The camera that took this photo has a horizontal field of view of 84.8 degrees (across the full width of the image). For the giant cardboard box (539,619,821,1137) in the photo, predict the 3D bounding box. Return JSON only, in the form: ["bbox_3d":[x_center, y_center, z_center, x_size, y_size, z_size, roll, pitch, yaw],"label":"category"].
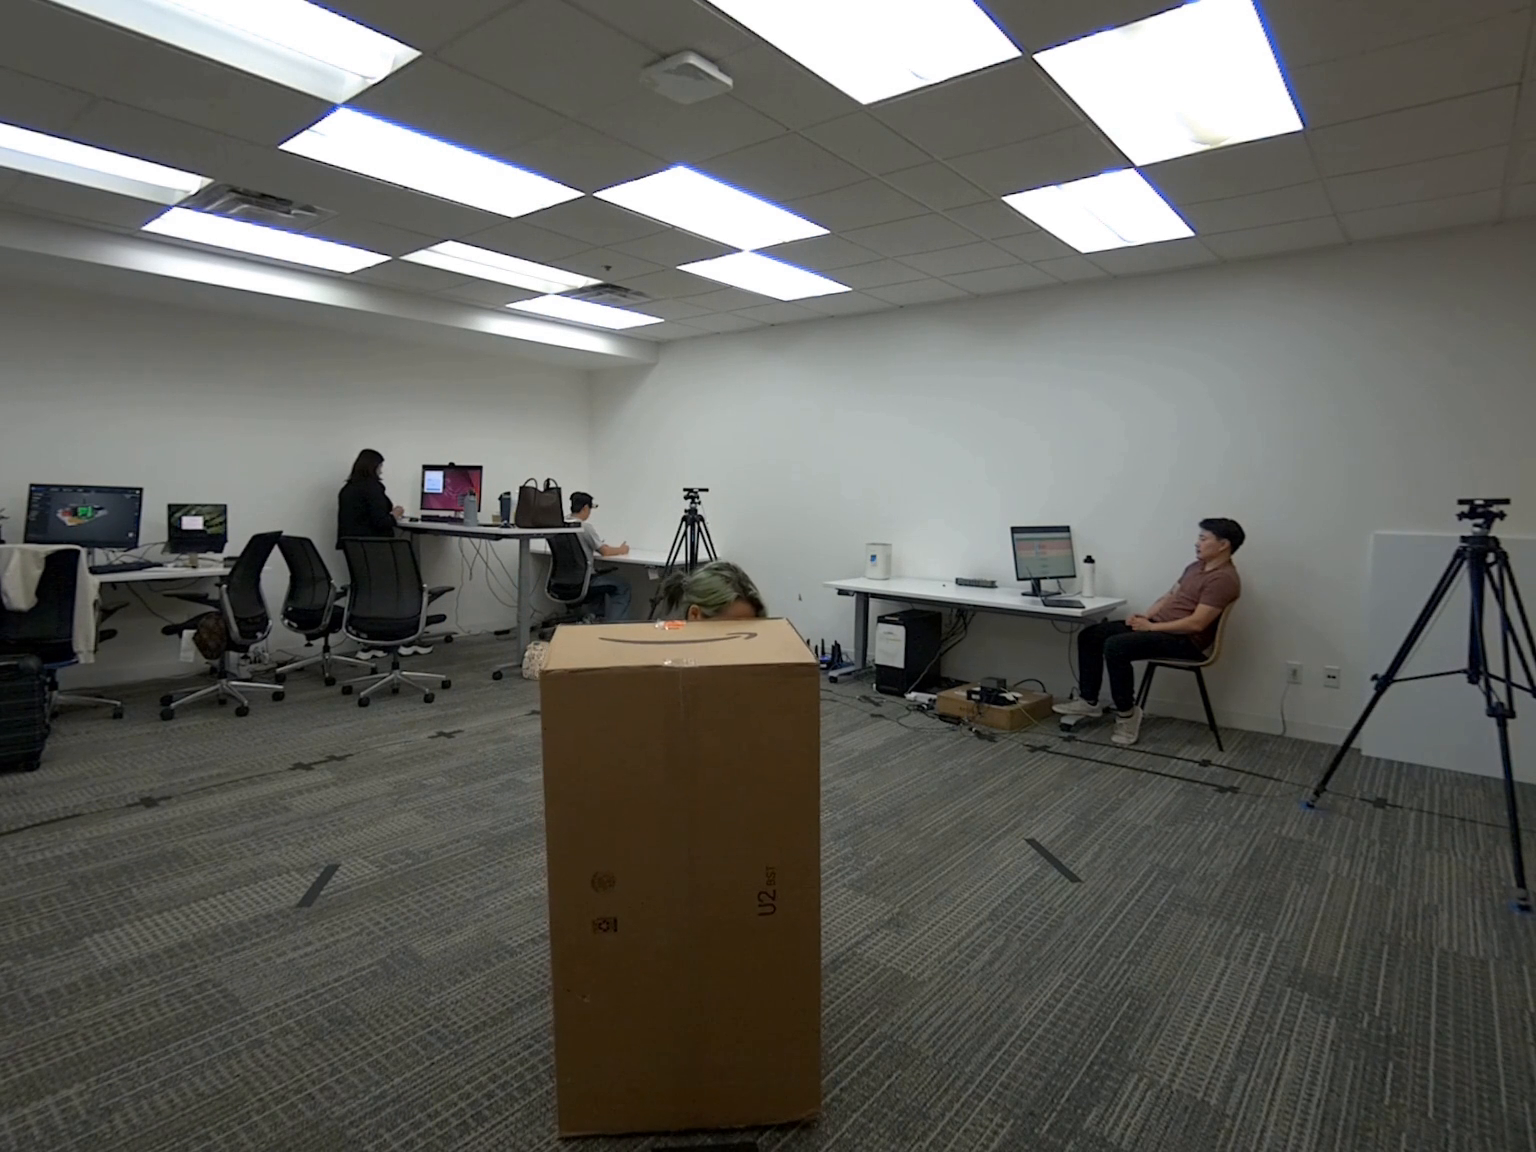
[{"bbox_3d":[-0.206,0.651,1.974,0.581,1.020,0.453,-1,7,-6],"label":"giant cardboard box"}]
